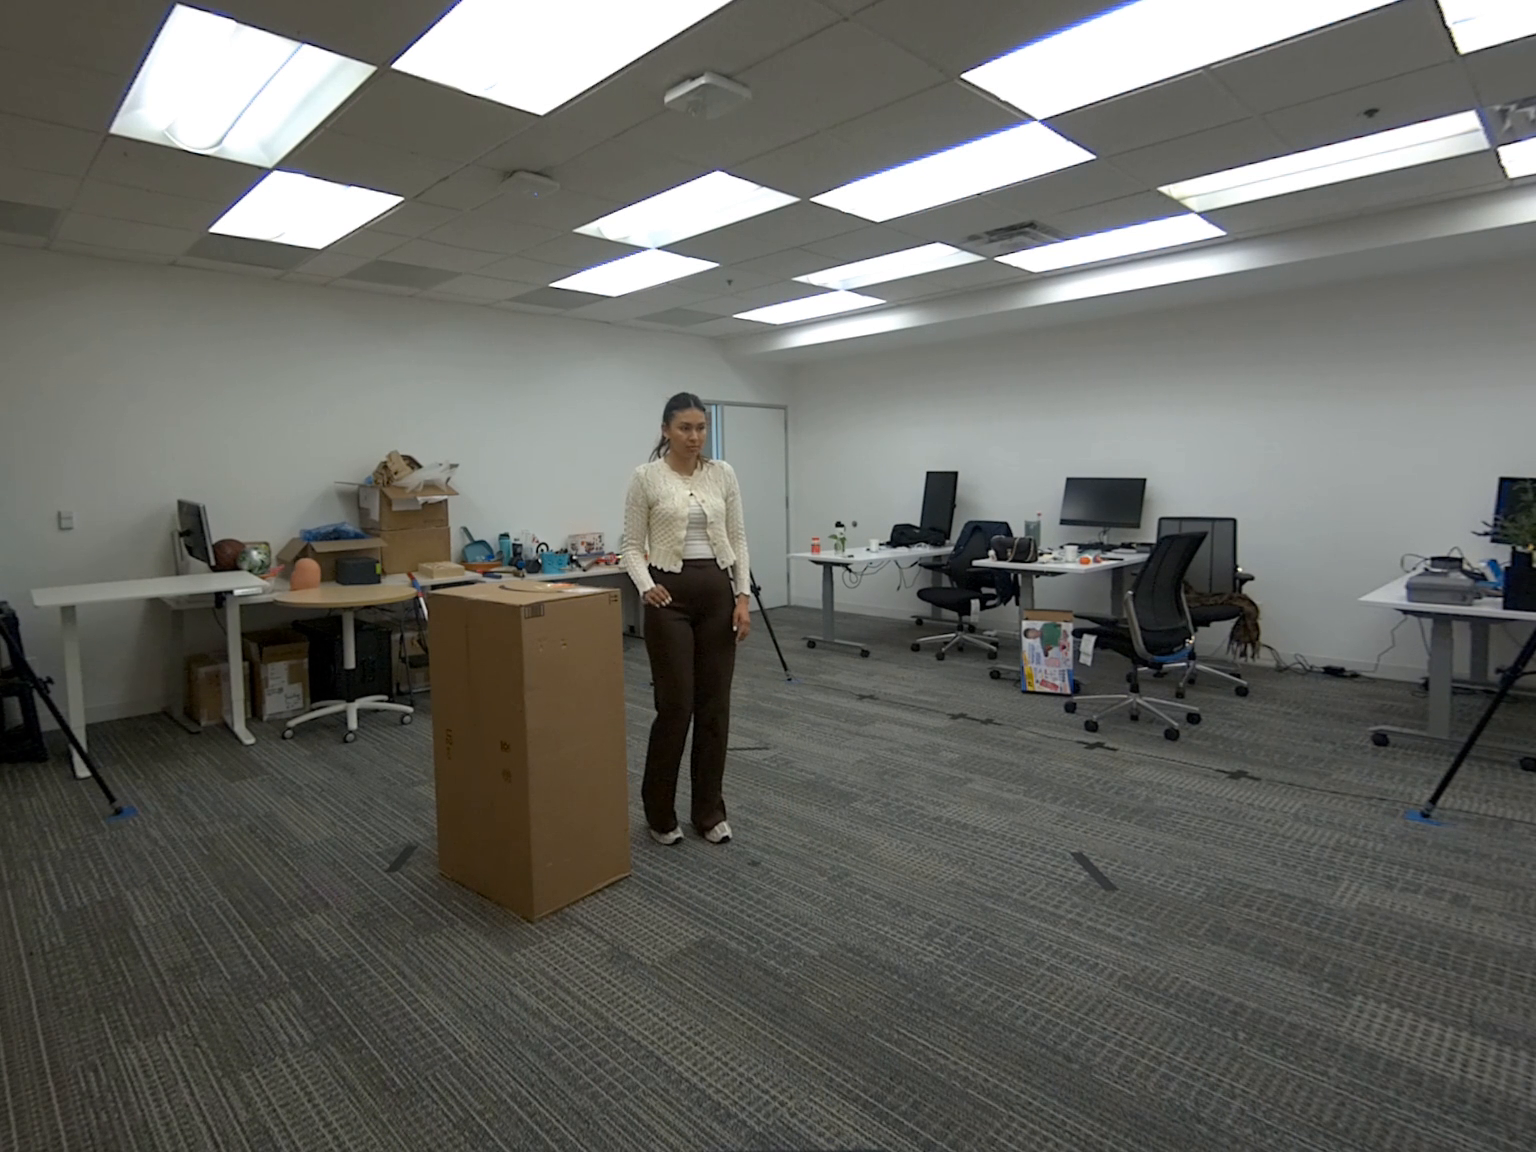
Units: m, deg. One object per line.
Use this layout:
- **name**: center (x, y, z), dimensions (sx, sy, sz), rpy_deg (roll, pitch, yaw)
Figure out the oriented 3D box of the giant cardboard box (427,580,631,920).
- **giant cardboard box**: center (-0.848, 0.558, 3.028), dimensions (0.595, 1.022, 0.415), rpy_deg (2, 5, 40)
